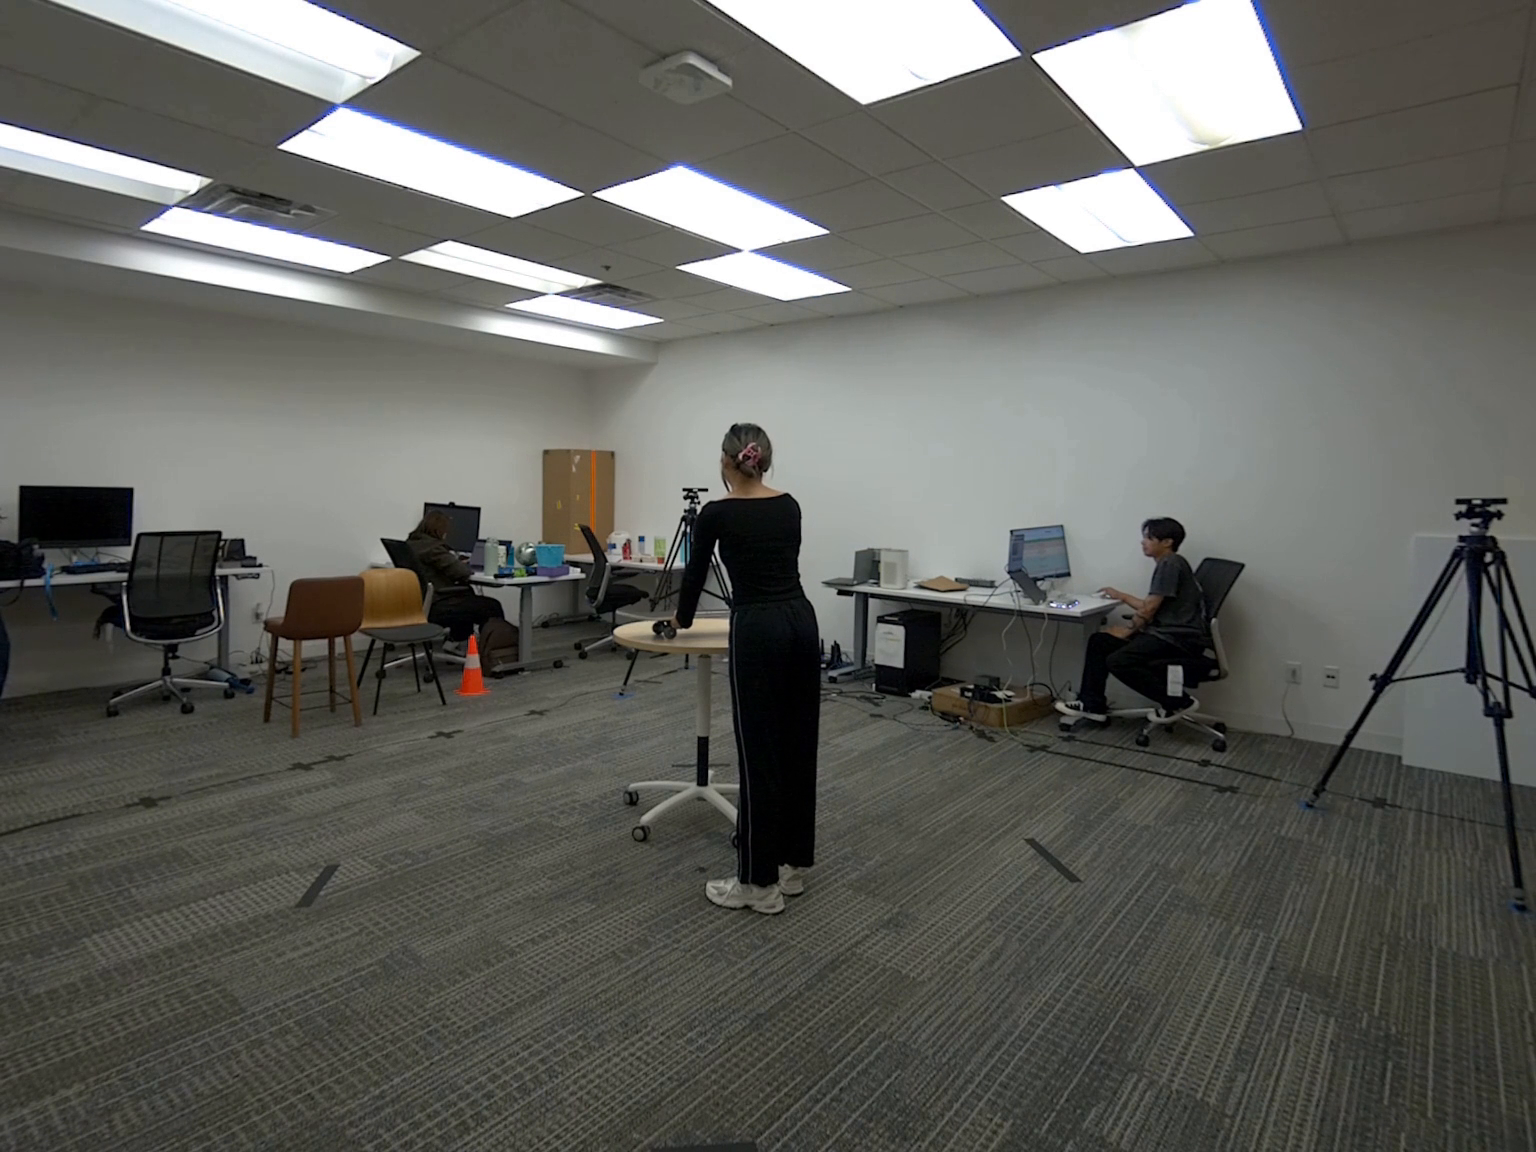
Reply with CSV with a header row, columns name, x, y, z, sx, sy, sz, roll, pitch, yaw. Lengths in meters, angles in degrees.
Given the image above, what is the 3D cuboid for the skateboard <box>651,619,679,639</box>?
name,x,y,z,sx,sy,sz,roll,pitch,yaw
skateboard,-0.244,0.181,3.488,0.768,0.110,0.198,0,2,-23
